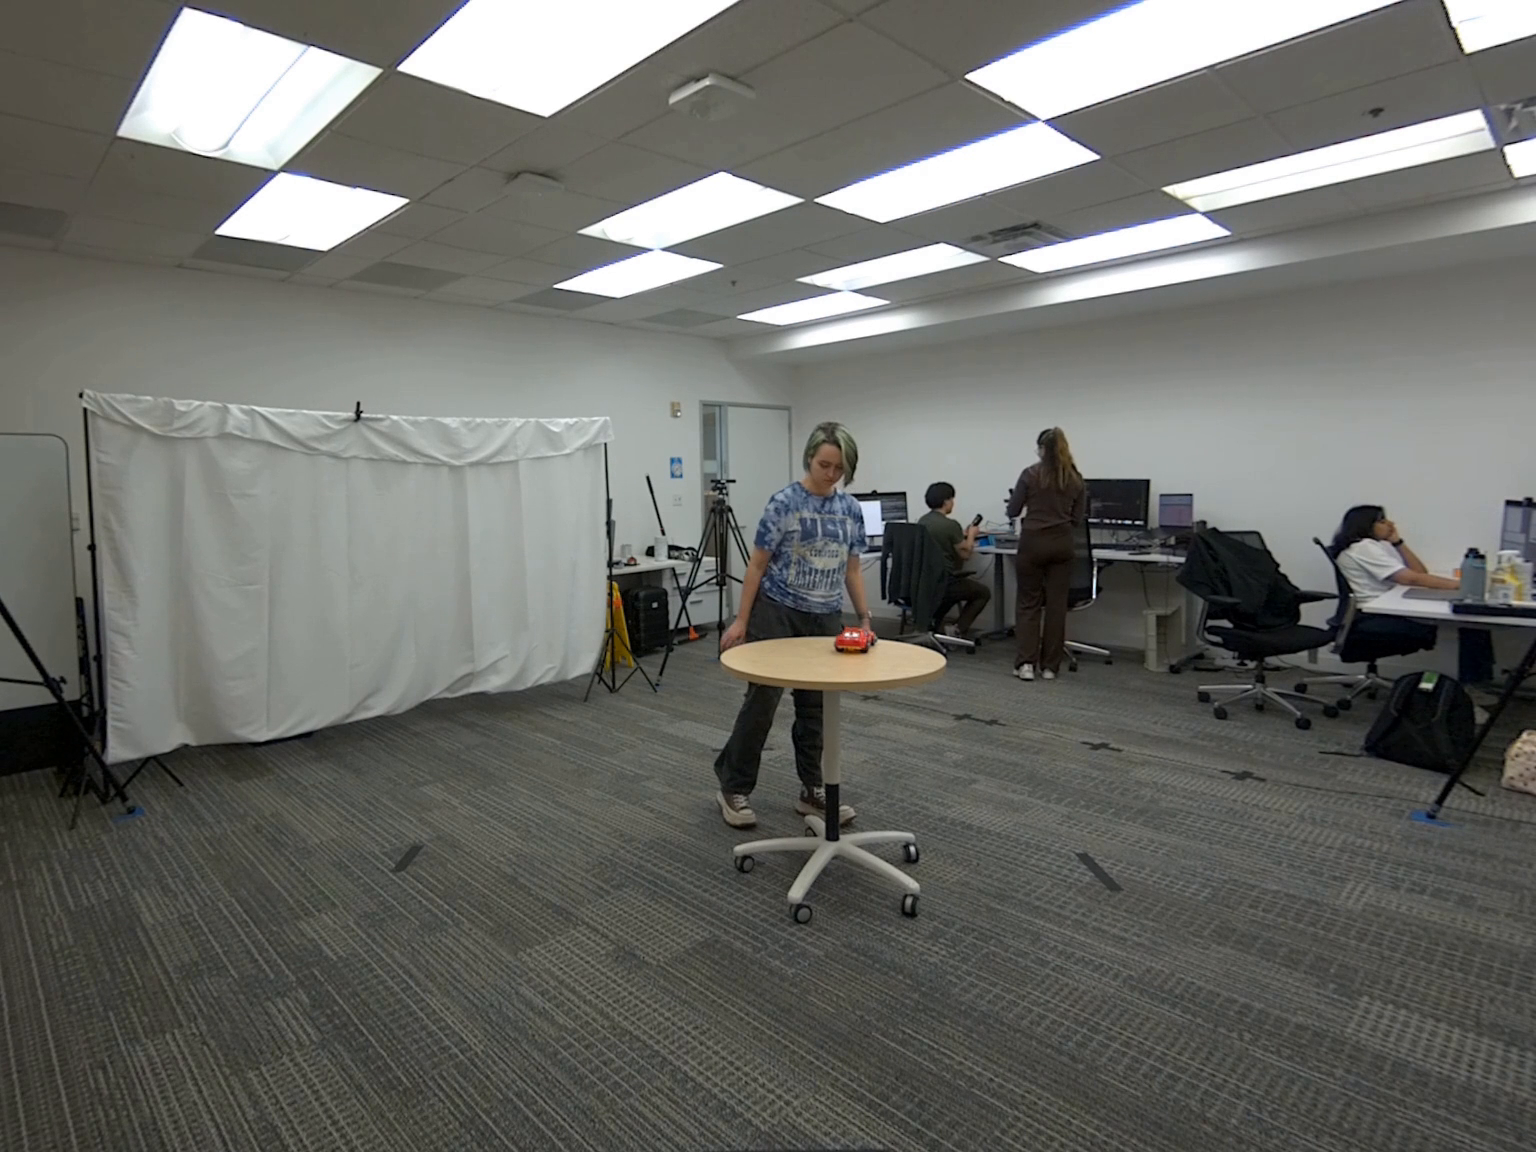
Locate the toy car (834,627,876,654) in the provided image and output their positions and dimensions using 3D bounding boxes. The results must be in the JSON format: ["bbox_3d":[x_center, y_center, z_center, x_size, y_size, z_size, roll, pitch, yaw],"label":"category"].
[{"bbox_3d":[0.316,0.234,3.069,0.132,0.084,0.249,1,-6,17],"label":"toy car"}]
